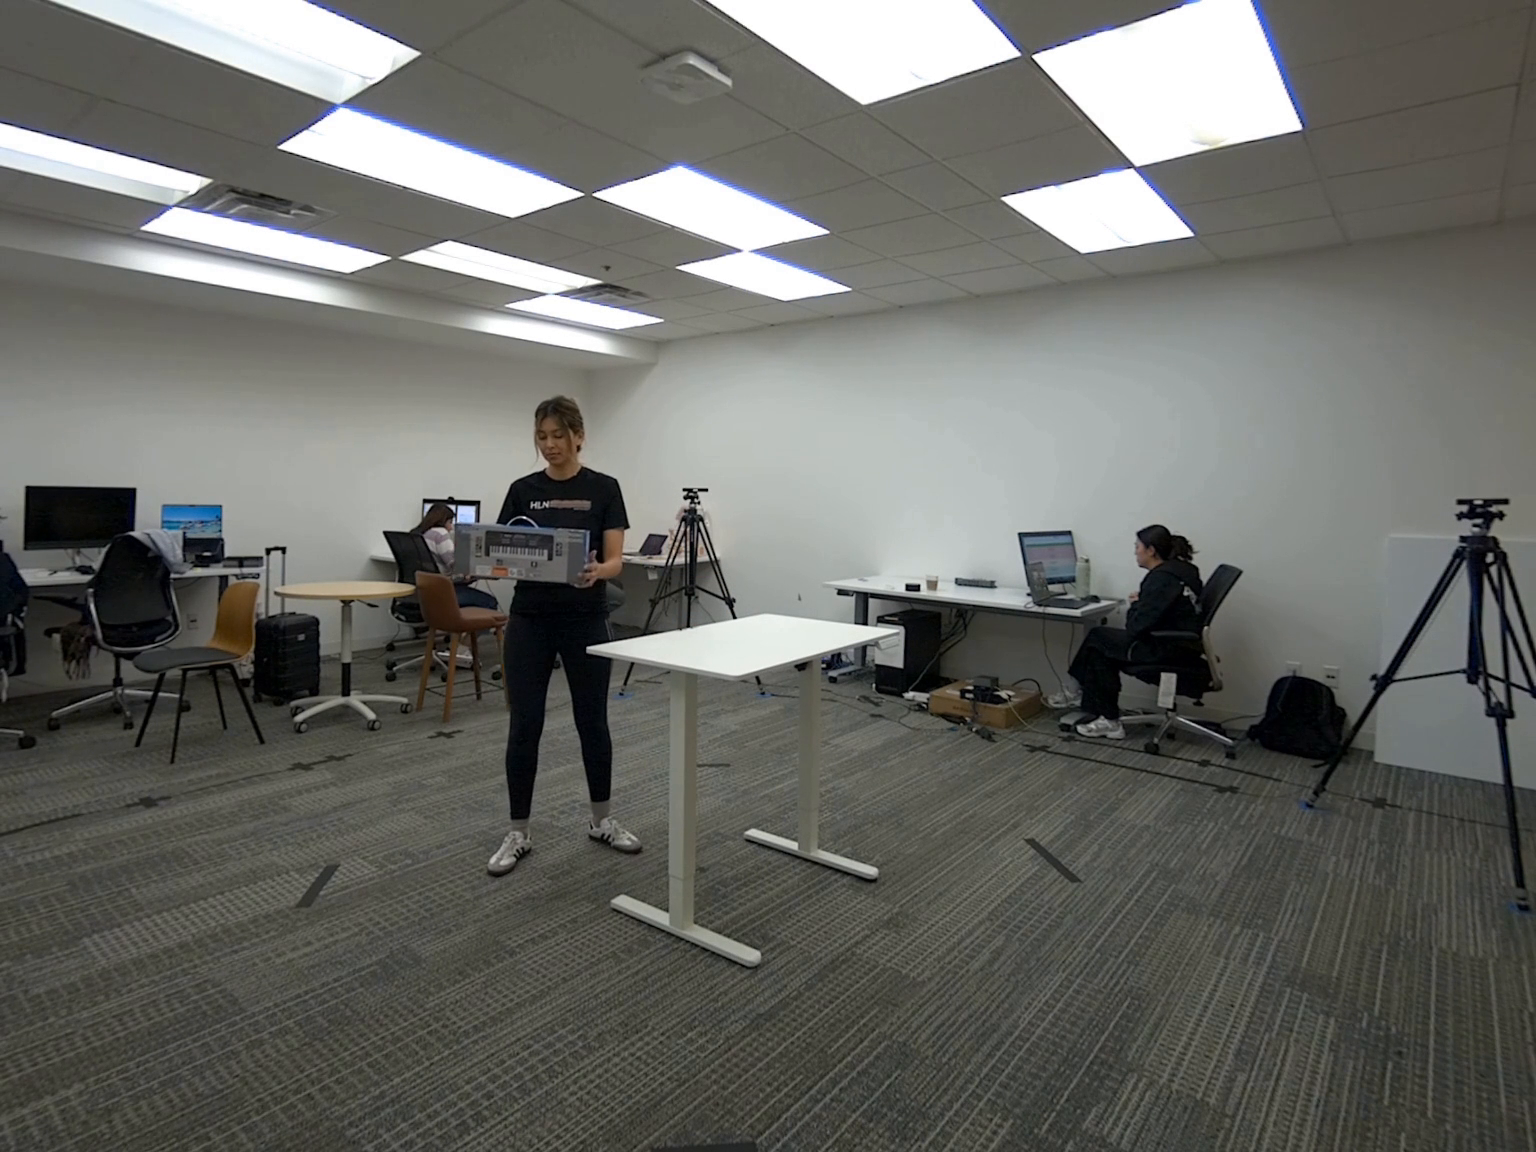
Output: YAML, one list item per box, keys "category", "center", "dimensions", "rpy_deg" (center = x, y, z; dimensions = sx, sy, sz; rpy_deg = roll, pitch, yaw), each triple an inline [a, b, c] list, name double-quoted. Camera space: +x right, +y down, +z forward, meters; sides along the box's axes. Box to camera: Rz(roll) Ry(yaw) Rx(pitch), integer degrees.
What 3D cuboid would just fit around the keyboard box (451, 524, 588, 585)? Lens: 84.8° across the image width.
- category: "keyboard box"
  center: [-0.828, -0.071, 2.793]
  dimensions: [0.438, 0.175, 0.059]
  rpy_deg: [5, 5, 2]
